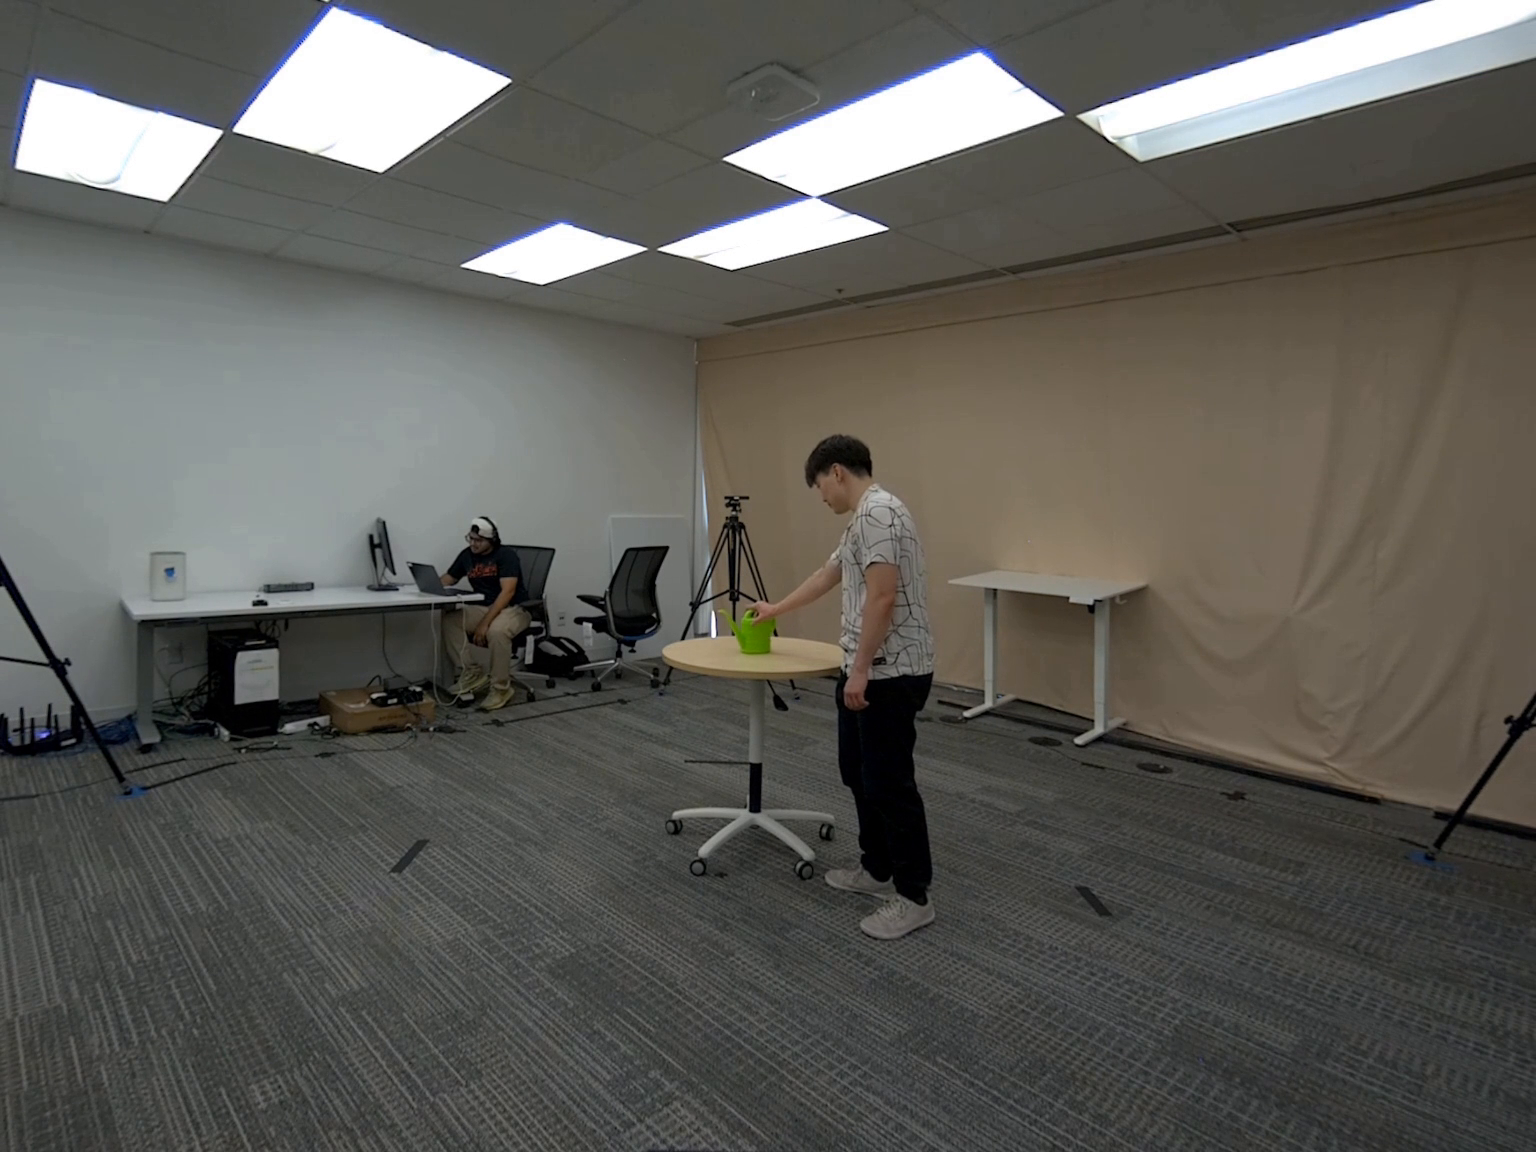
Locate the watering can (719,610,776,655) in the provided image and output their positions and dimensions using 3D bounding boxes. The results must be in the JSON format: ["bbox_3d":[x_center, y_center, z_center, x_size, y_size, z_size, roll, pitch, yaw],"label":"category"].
[{"bbox_3d":[-0.090,0.214,3.318,0.273,0.176,0.100,4,4,-26],"label":"watering can"}]
